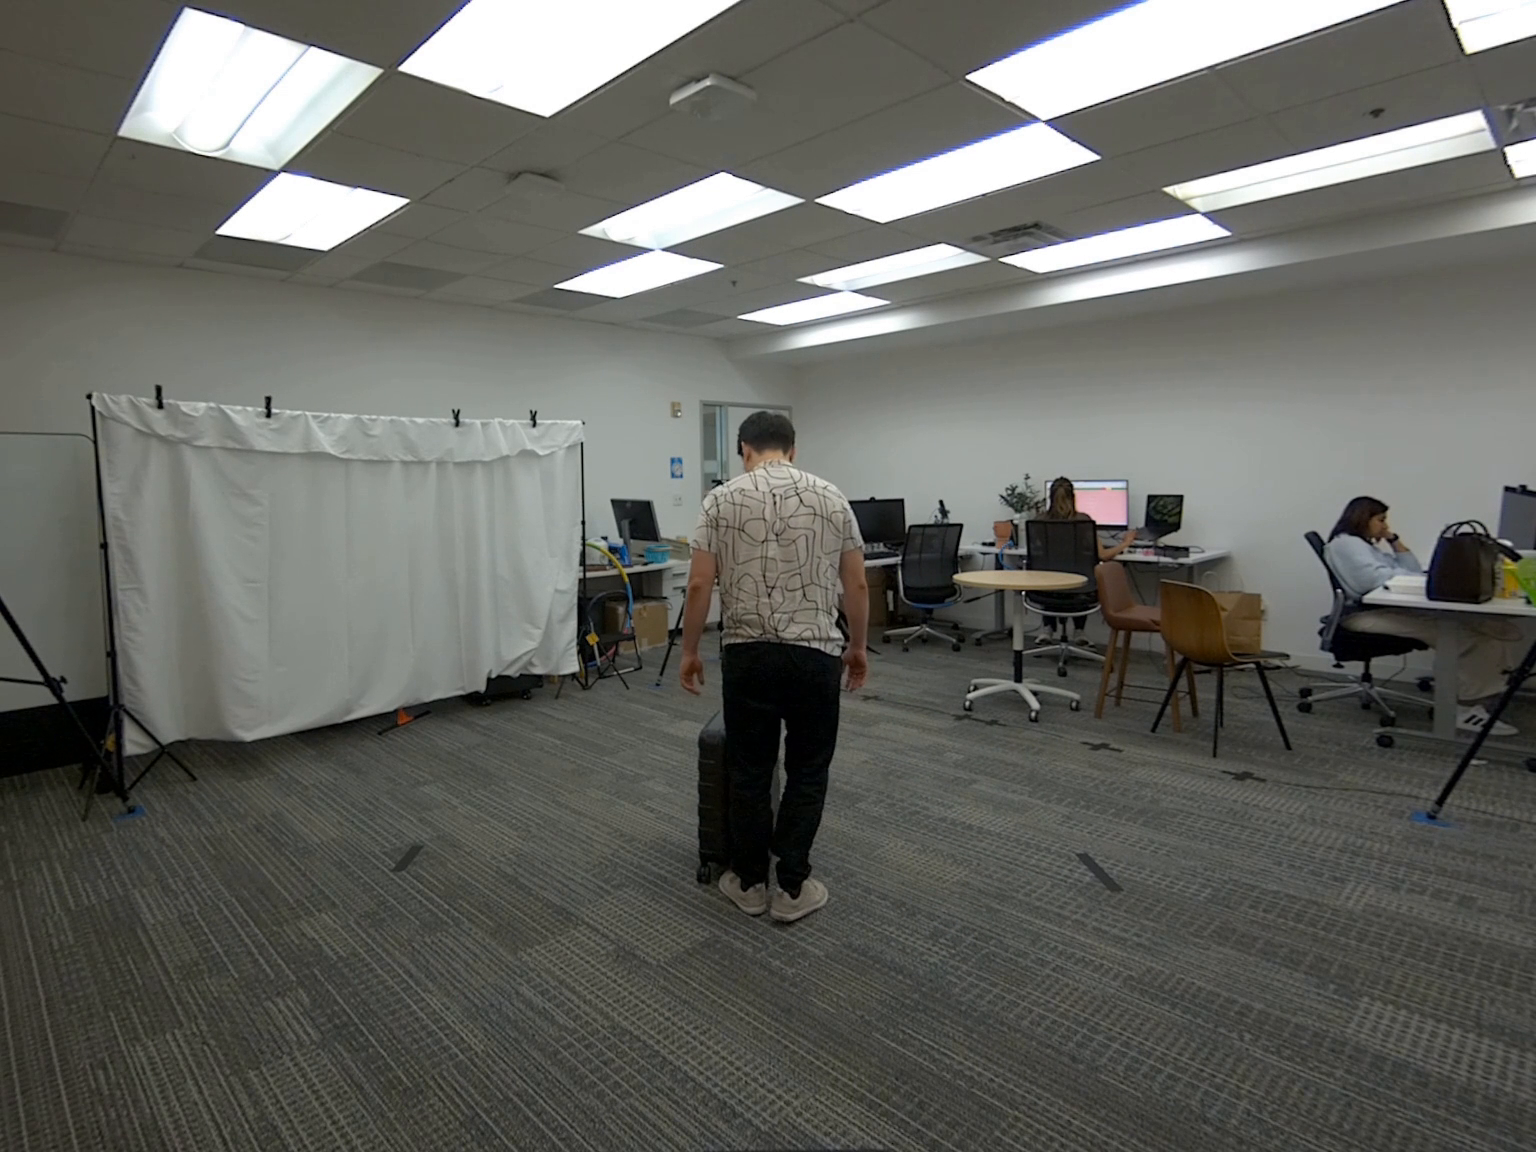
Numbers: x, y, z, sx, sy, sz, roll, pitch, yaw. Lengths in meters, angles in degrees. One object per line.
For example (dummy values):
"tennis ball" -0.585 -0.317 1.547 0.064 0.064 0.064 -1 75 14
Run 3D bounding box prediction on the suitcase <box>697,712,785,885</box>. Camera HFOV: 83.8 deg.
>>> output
"suitcase" -0.103 0.775 3.103 0.251 0.548 0.372 0 4 10
